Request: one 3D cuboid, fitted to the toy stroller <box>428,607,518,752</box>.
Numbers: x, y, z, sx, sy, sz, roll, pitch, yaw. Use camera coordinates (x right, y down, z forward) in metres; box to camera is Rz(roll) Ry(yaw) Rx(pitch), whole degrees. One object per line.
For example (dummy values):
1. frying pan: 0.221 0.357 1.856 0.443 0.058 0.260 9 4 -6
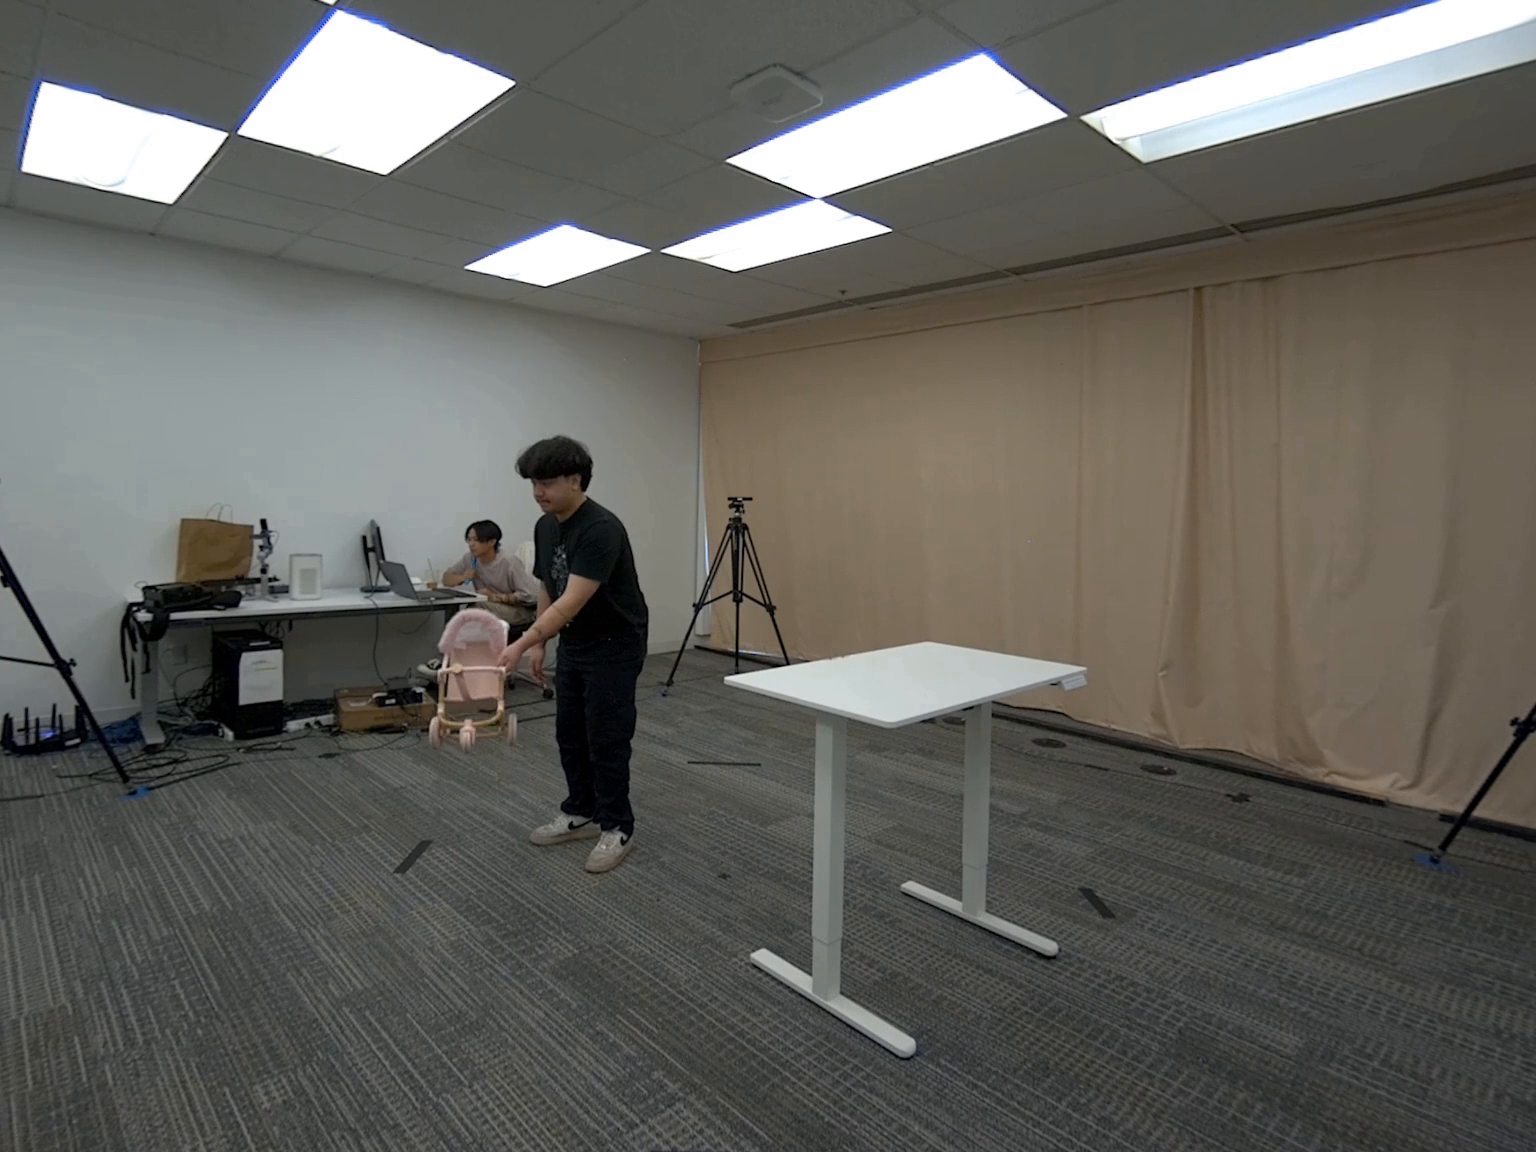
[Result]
1. toy stroller: -1.004 0.351 2.820 0.279 0.544 0.338 -1 -24 -10
